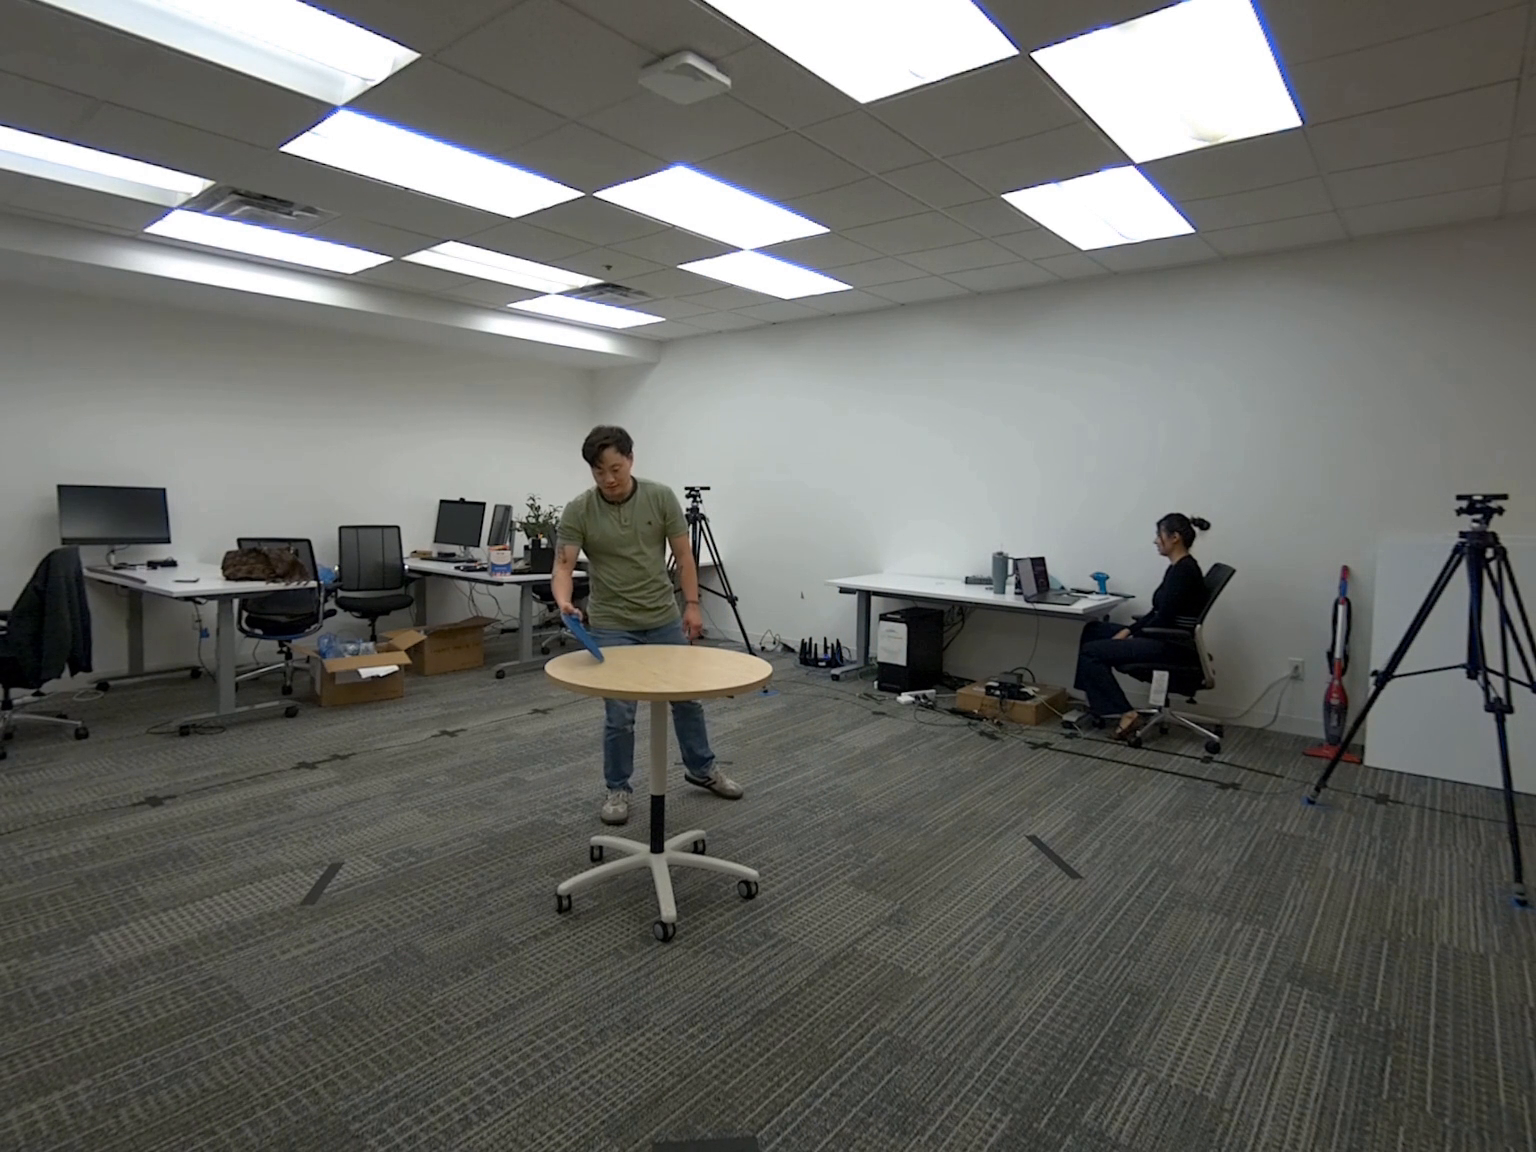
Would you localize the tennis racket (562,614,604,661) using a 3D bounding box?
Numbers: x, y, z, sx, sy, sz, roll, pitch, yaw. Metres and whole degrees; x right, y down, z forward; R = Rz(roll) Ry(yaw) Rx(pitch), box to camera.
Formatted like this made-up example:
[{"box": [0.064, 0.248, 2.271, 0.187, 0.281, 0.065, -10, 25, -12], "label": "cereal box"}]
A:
[{"box": [-0.689, 0.191, 3.036, 0.207, 0.032, 0.446, 46, -4, -24], "label": "tennis racket"}]
